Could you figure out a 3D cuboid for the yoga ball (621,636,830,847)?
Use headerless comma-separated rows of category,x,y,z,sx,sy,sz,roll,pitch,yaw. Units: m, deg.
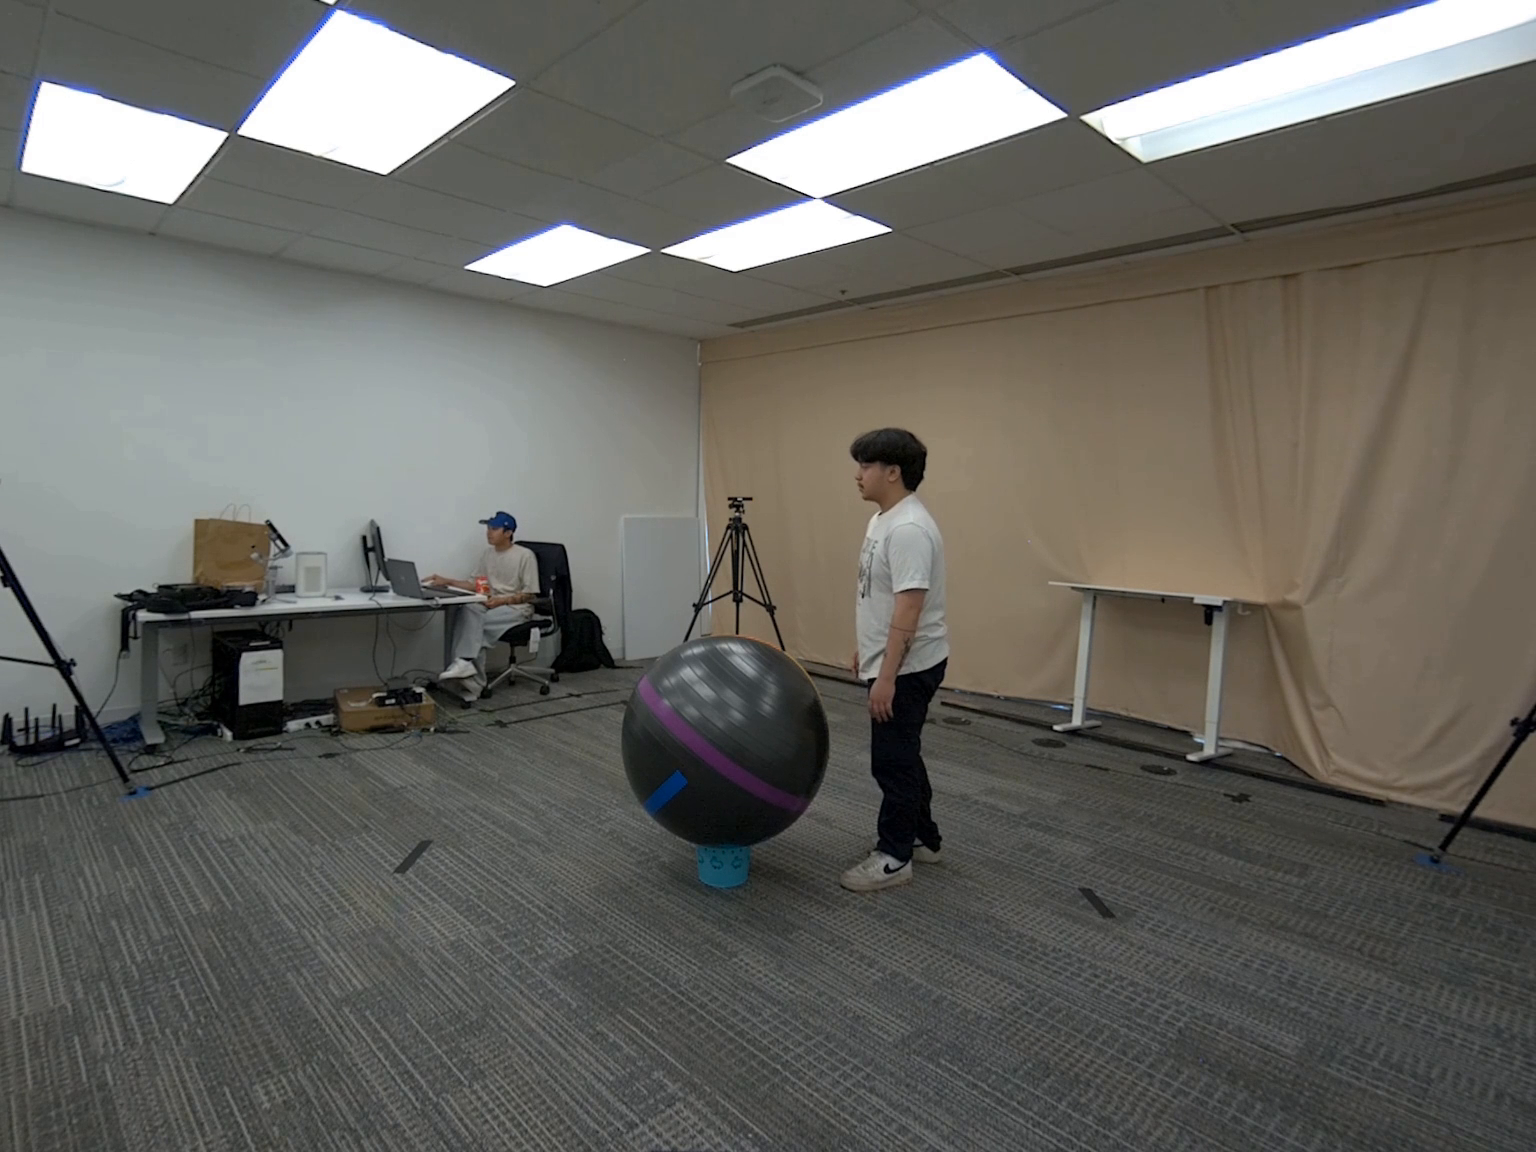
yoga ball,-0.164,0.598,3.088,0.757,0.756,0.761,1,4,-1
